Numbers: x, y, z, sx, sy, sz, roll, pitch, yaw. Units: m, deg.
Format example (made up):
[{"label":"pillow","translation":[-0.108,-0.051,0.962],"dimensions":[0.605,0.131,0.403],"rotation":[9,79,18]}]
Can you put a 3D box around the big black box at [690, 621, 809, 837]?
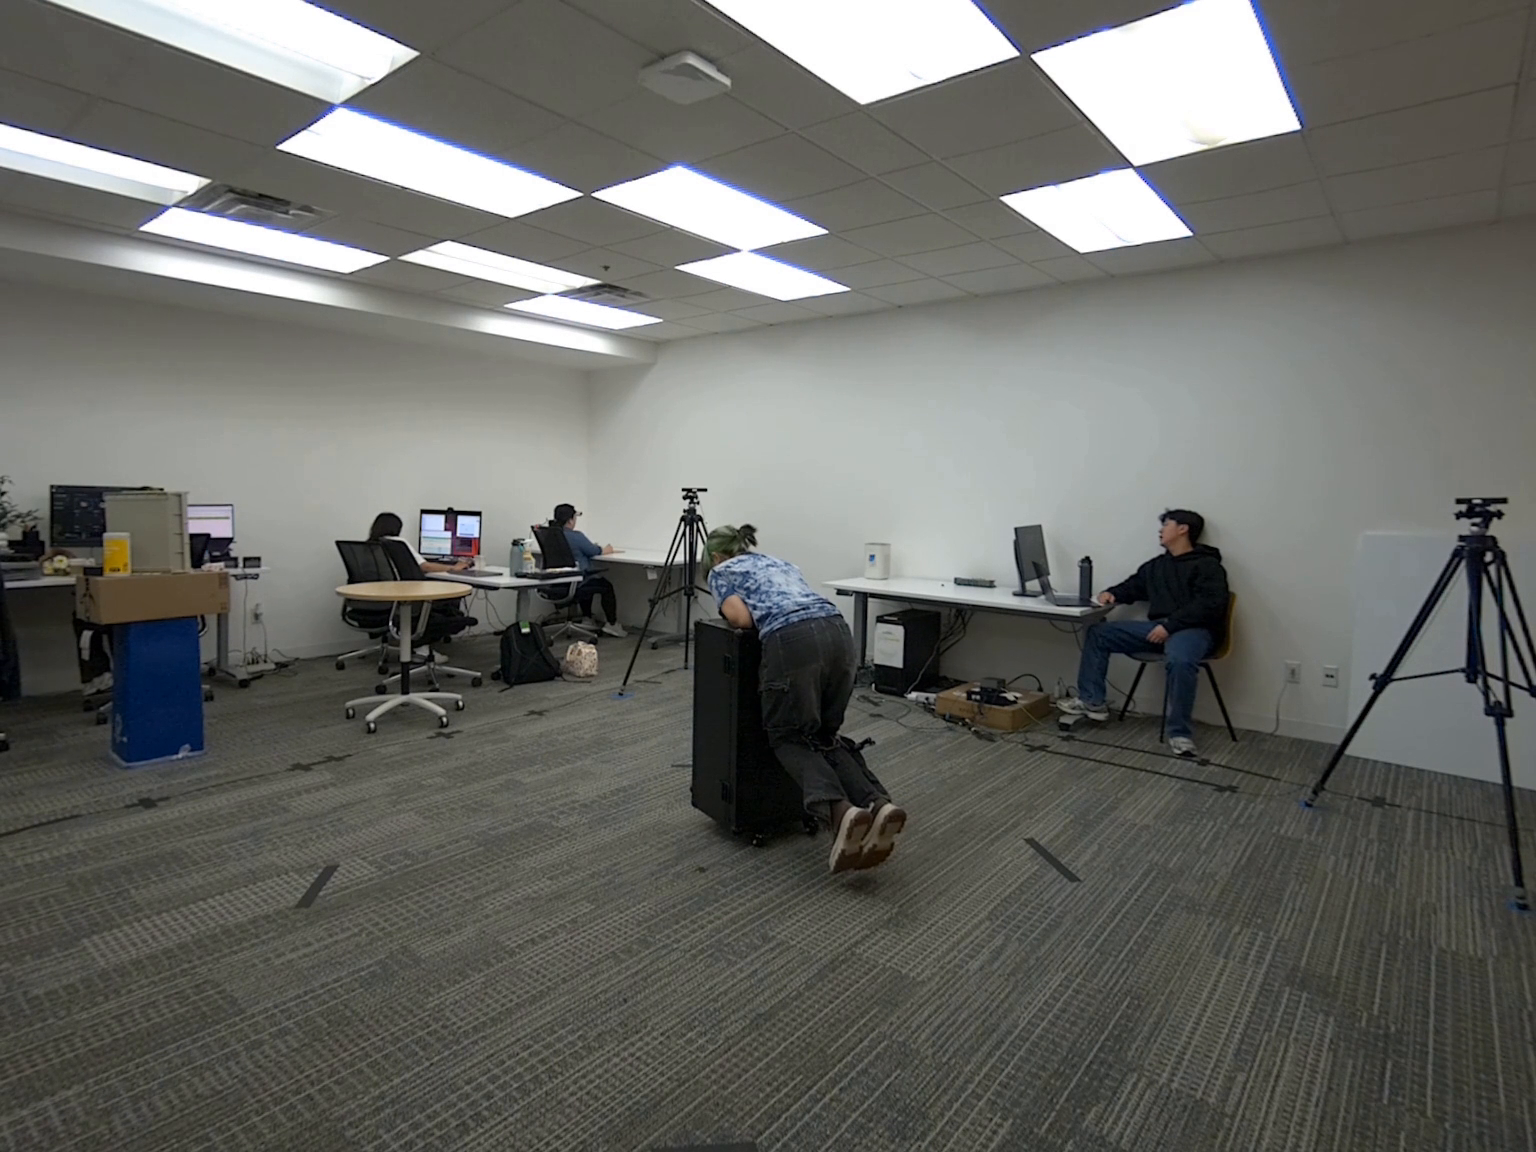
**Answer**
[{"label":"big black box","translation":[-0.032,0.559,3.517],"dimensions":[0.507,0.860,0.408],"rotation":[0,3,-32]}]
